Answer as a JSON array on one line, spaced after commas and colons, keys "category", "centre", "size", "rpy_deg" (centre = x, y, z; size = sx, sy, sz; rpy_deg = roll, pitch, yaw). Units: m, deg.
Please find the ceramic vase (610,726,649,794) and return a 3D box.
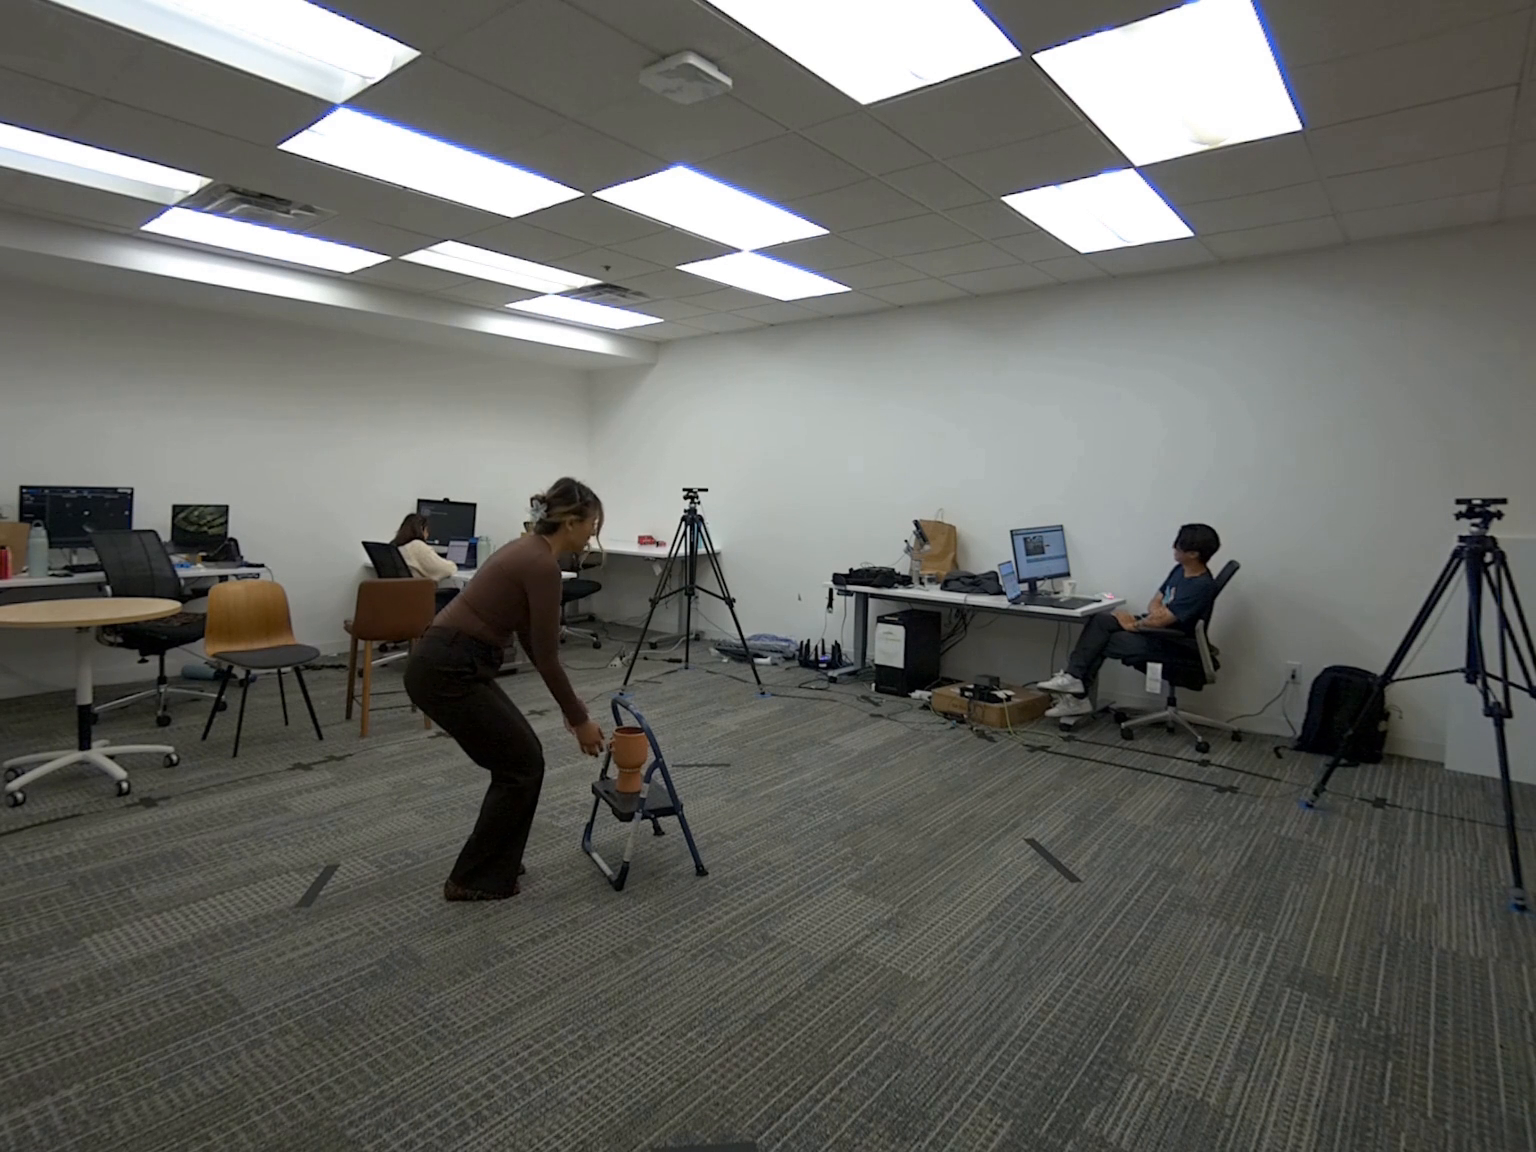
[{"category": "ceramic vase", "centre": [-0.528, 0.681, 3.182], "size": [0.159, 0.219, 0.135], "rpy_deg": [2, 3, 0]}]
